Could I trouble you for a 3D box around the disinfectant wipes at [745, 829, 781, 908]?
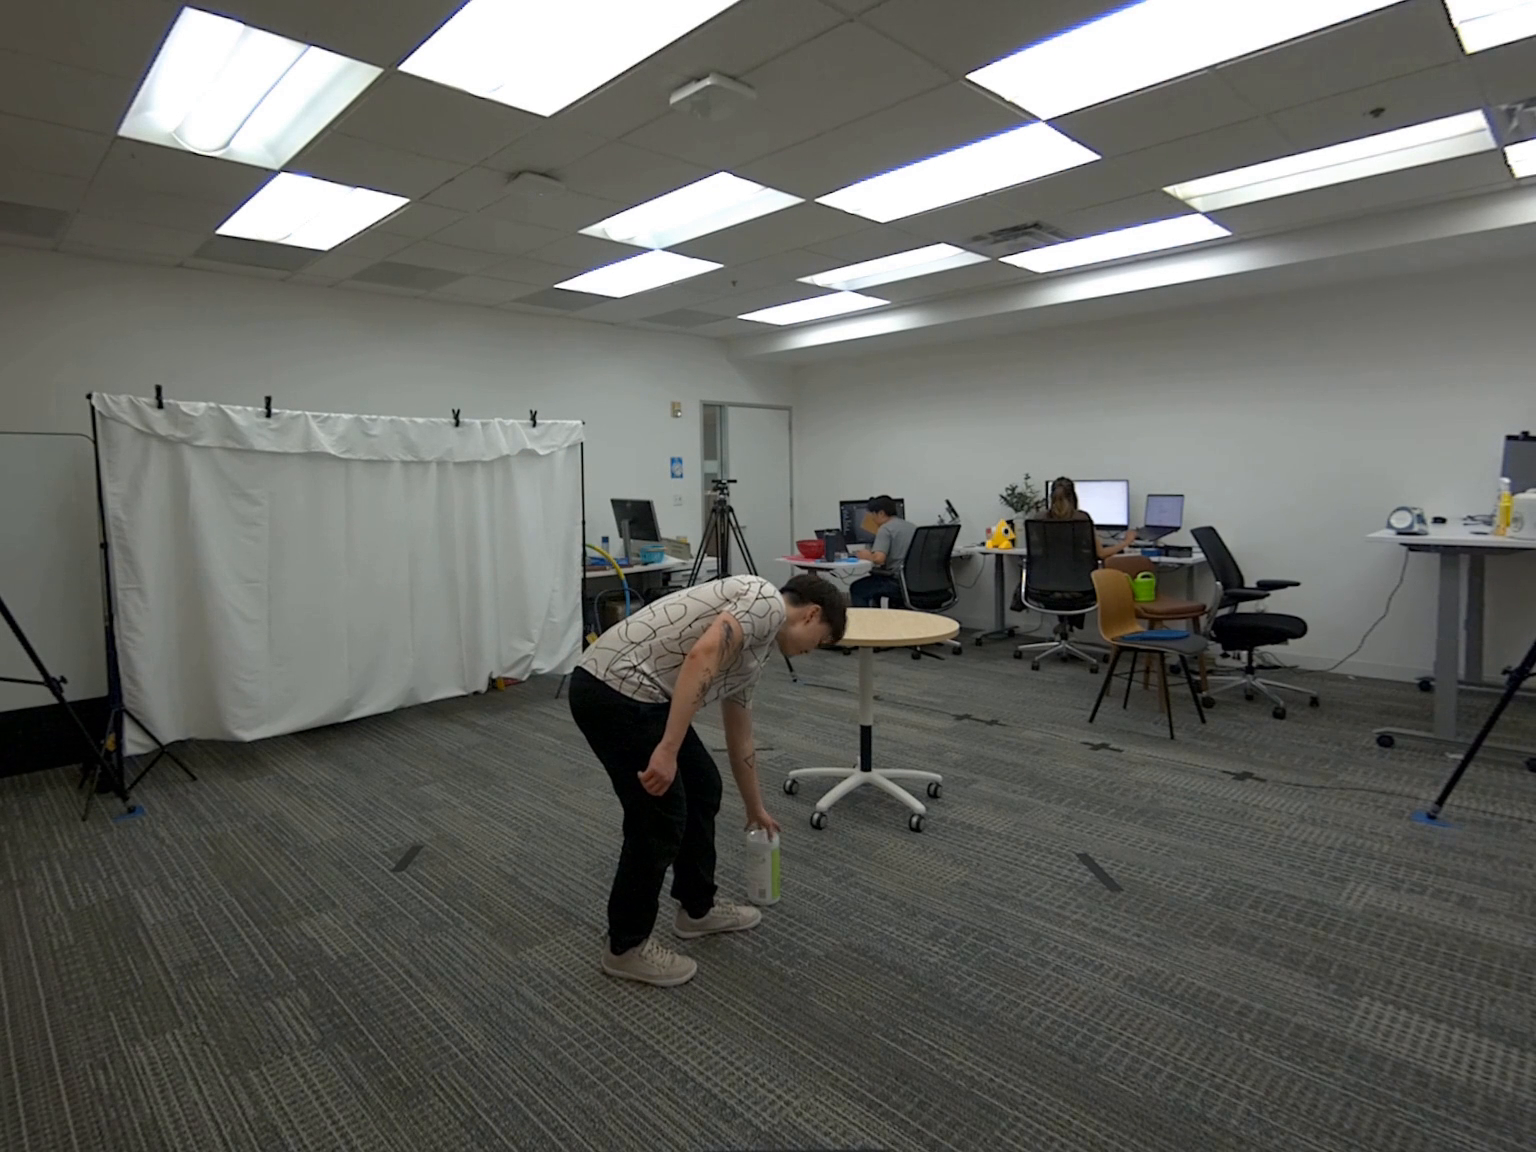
[{"bbox_3d":[-0.009,0.978,2.838,0.118,0.217,0.118,-1,4,-2],"label":"disinfectant wipes"}]
